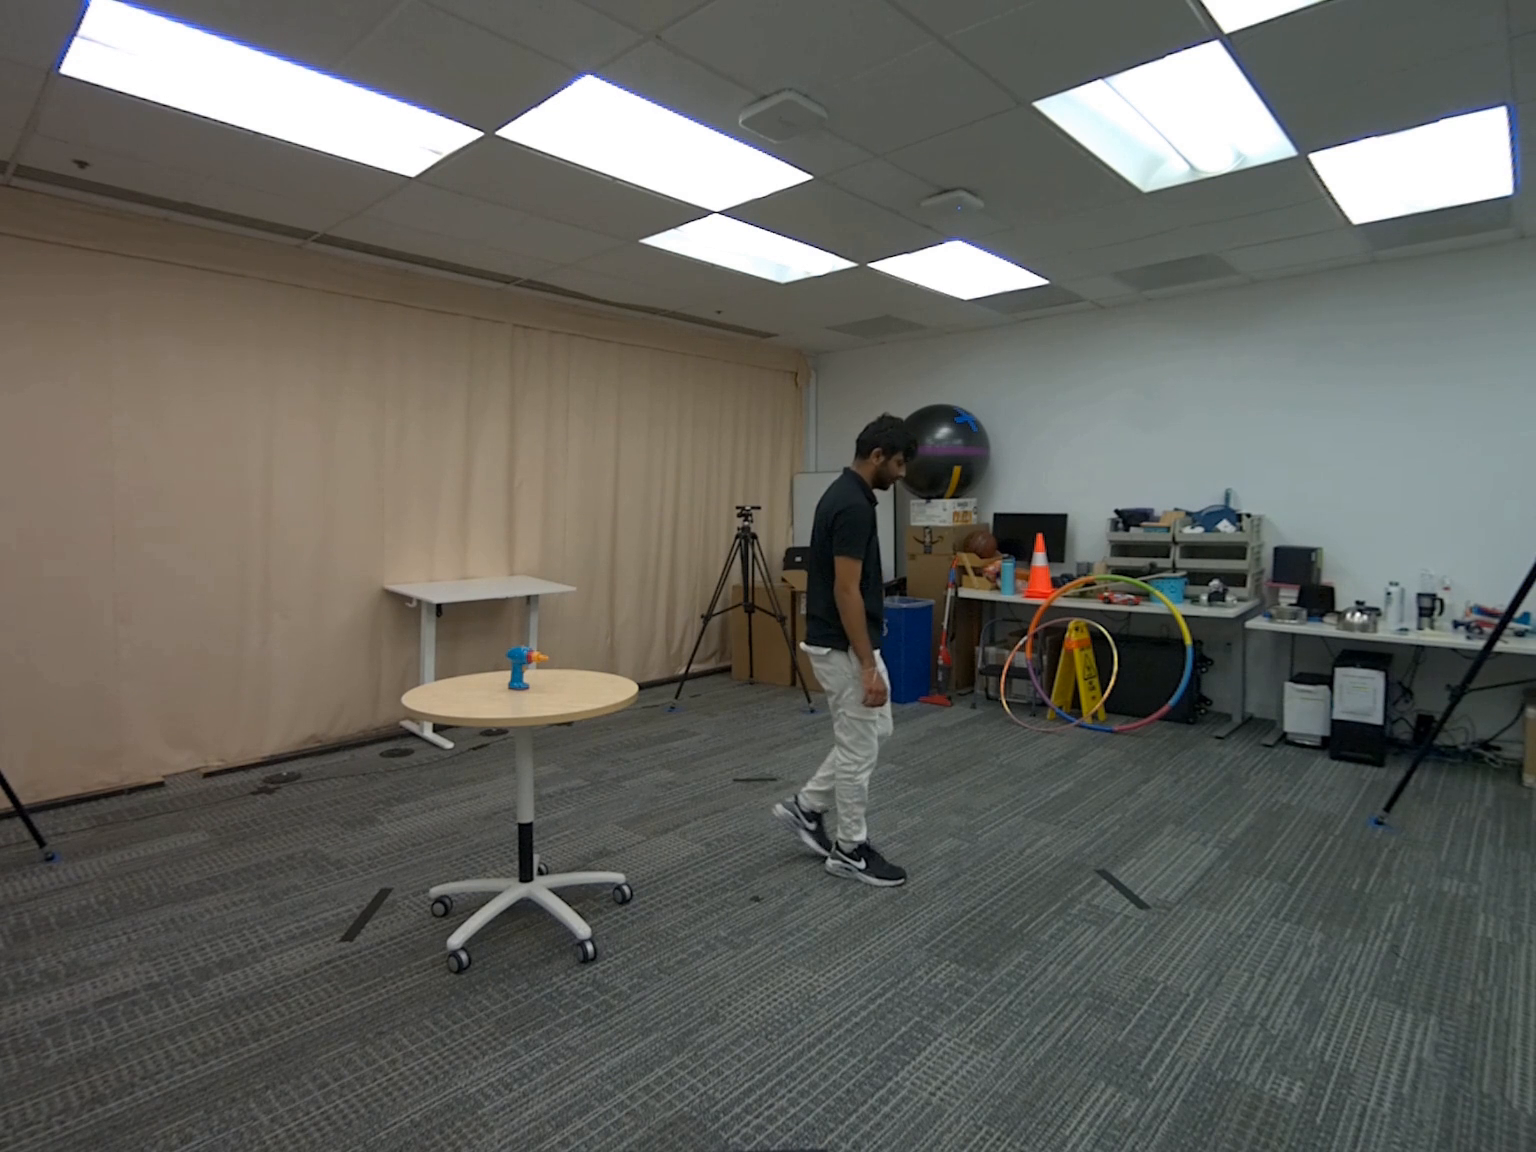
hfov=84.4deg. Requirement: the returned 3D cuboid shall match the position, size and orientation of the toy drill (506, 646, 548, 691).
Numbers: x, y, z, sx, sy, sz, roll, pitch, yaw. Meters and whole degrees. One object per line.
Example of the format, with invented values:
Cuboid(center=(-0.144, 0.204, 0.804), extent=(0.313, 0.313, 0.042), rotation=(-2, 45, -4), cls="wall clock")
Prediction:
Cuboid(center=(-0.800, 0.309, 2.812), extent=(0.173, 0.146, 0.060), rotation=(2, 3, 16), cls="toy drill")
